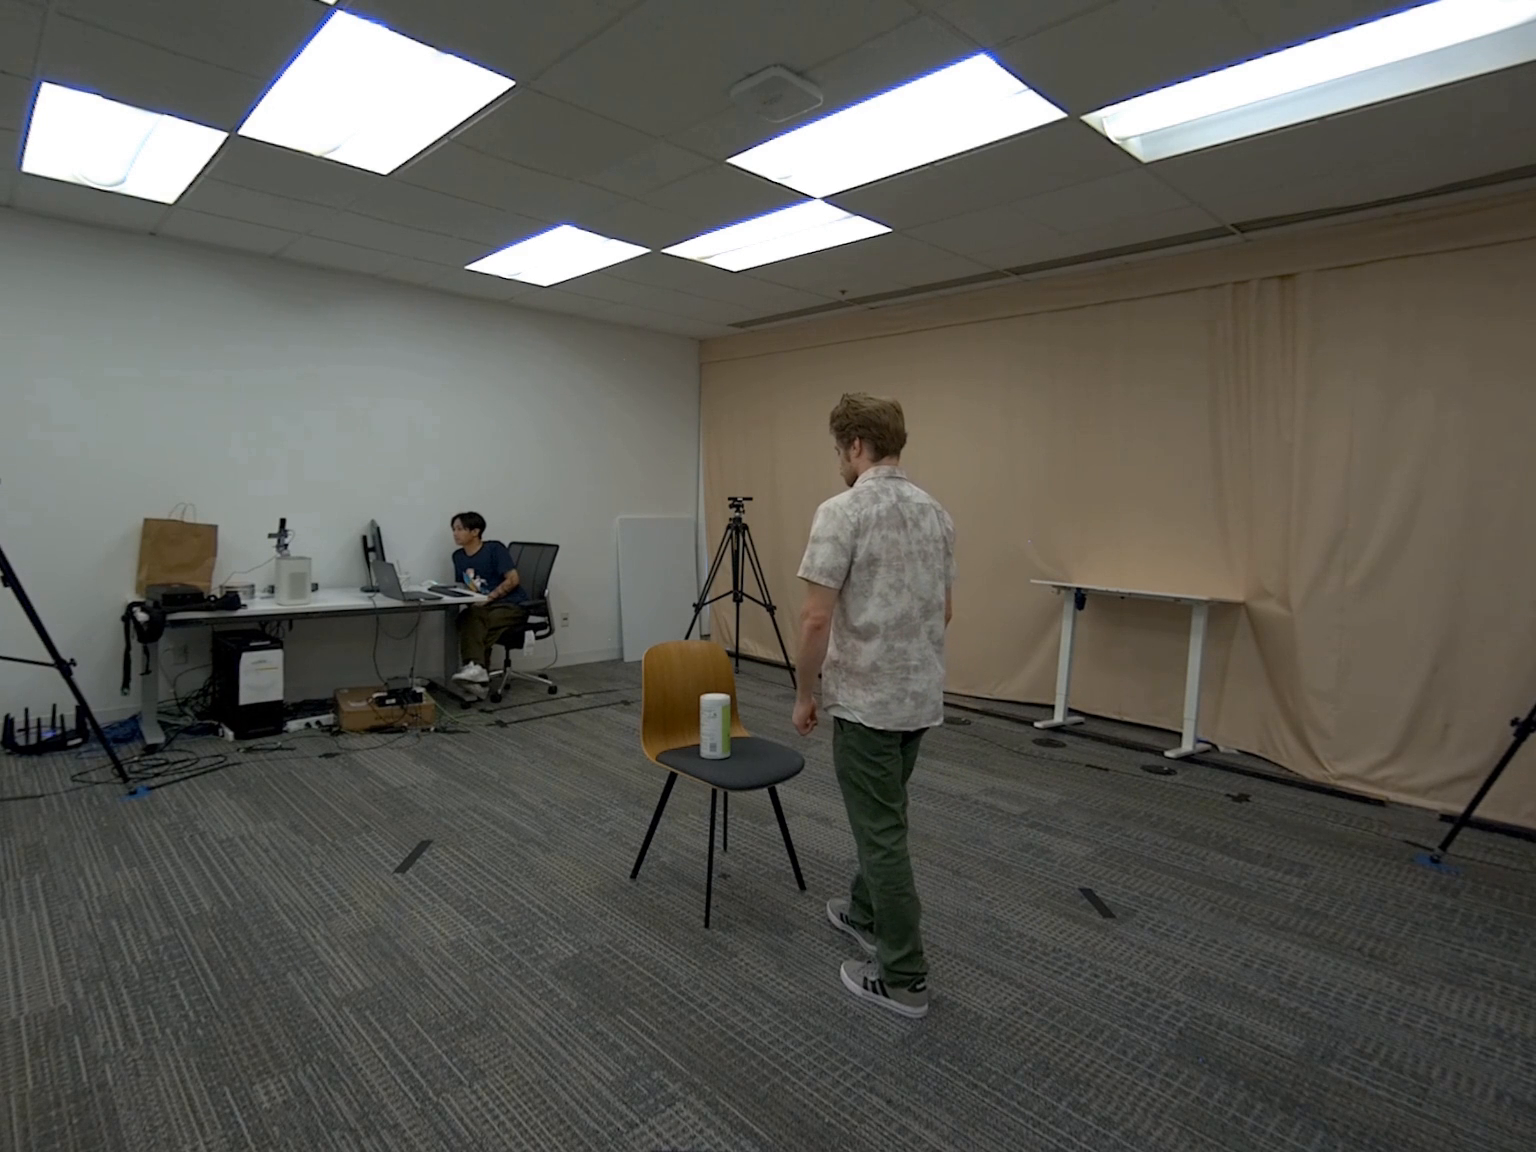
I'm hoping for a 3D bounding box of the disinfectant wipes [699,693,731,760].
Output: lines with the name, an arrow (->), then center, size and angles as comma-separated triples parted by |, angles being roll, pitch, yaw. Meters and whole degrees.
disinfectant wipes -> -0.207, 0.539, 3.004 | 0.118, 0.217, 0.118 | 1, -1, -1
